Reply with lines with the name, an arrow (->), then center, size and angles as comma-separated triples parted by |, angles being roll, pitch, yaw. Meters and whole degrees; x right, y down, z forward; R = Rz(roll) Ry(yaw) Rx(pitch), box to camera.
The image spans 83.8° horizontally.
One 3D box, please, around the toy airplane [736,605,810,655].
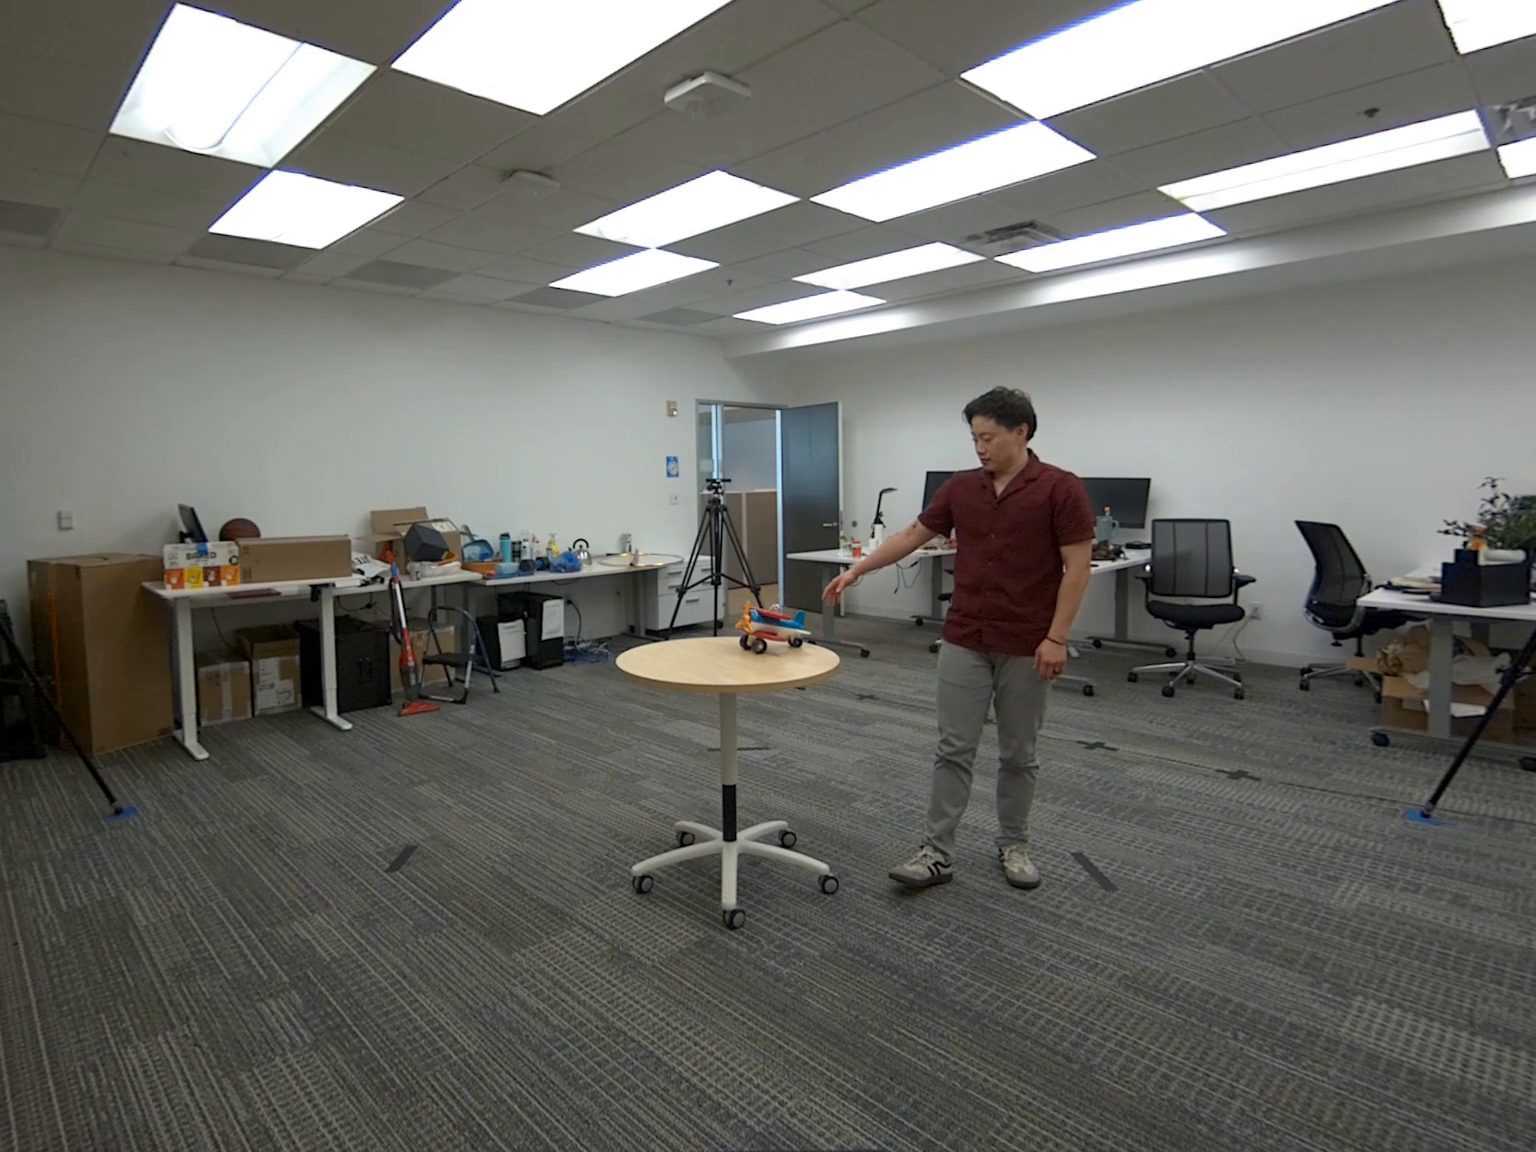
toy airplane -> 0.019, 0.184, 3.091 | 0.258, 0.155, 0.253 | 5, 9, 33
